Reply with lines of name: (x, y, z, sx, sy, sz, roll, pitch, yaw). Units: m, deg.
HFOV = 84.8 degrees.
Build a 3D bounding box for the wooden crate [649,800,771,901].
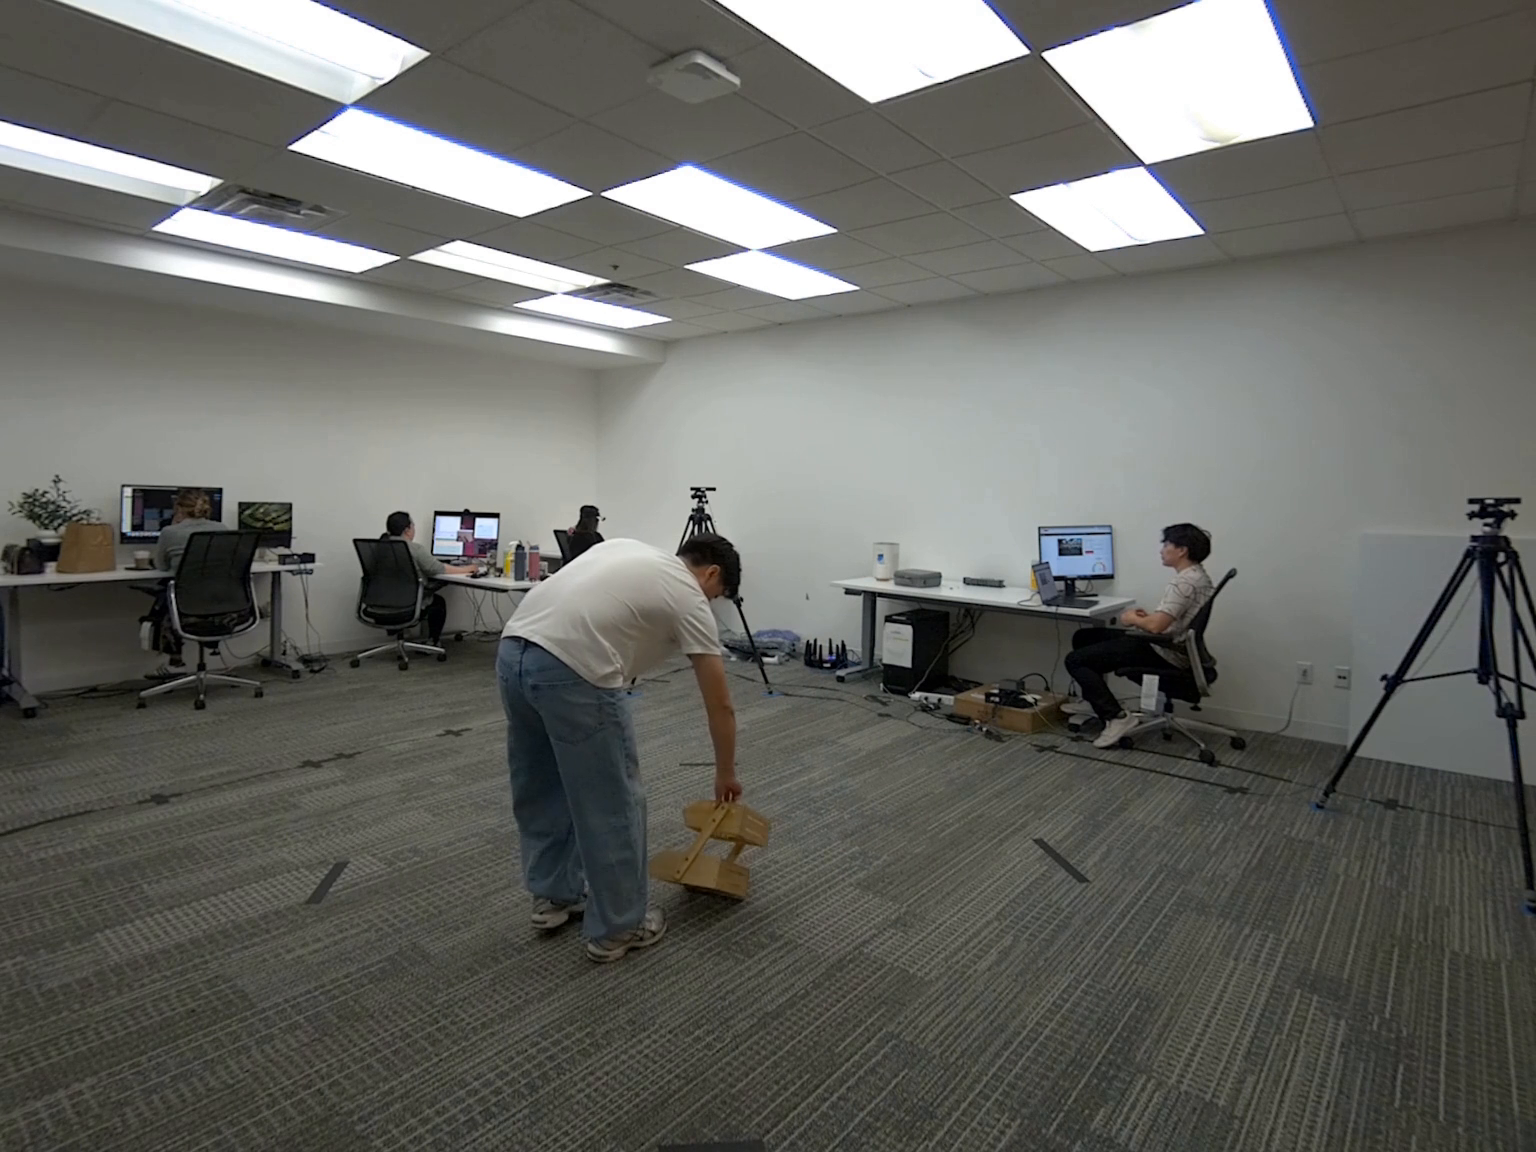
wooden crate: (-0.207, 0.900, 2.842, 0.309, 0.278, 0.312, 1, -24, 22)
